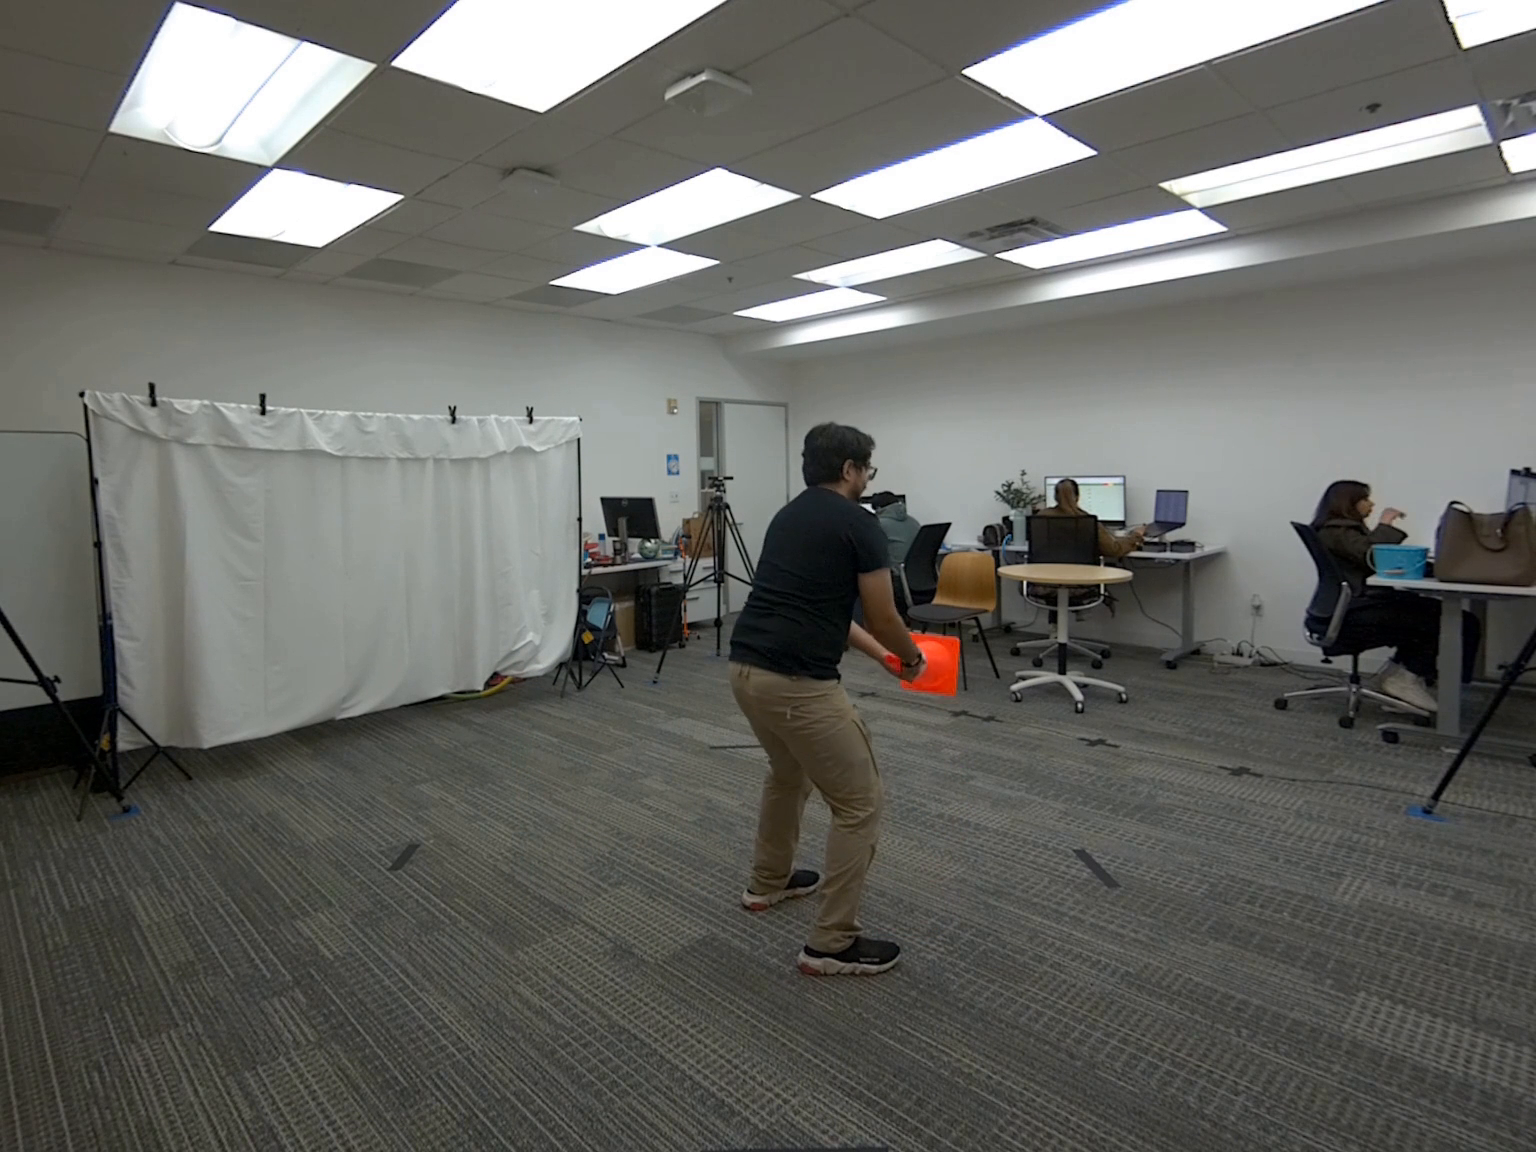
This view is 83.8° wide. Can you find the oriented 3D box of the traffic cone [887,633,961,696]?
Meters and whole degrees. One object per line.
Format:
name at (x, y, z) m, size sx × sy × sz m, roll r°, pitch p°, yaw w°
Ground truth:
traffic cone at (0.464, 0.296, 2.833) m, size 0.211 × 0.204 × 0.371 m, roll 4°, pitch -6°, yaw 33°
